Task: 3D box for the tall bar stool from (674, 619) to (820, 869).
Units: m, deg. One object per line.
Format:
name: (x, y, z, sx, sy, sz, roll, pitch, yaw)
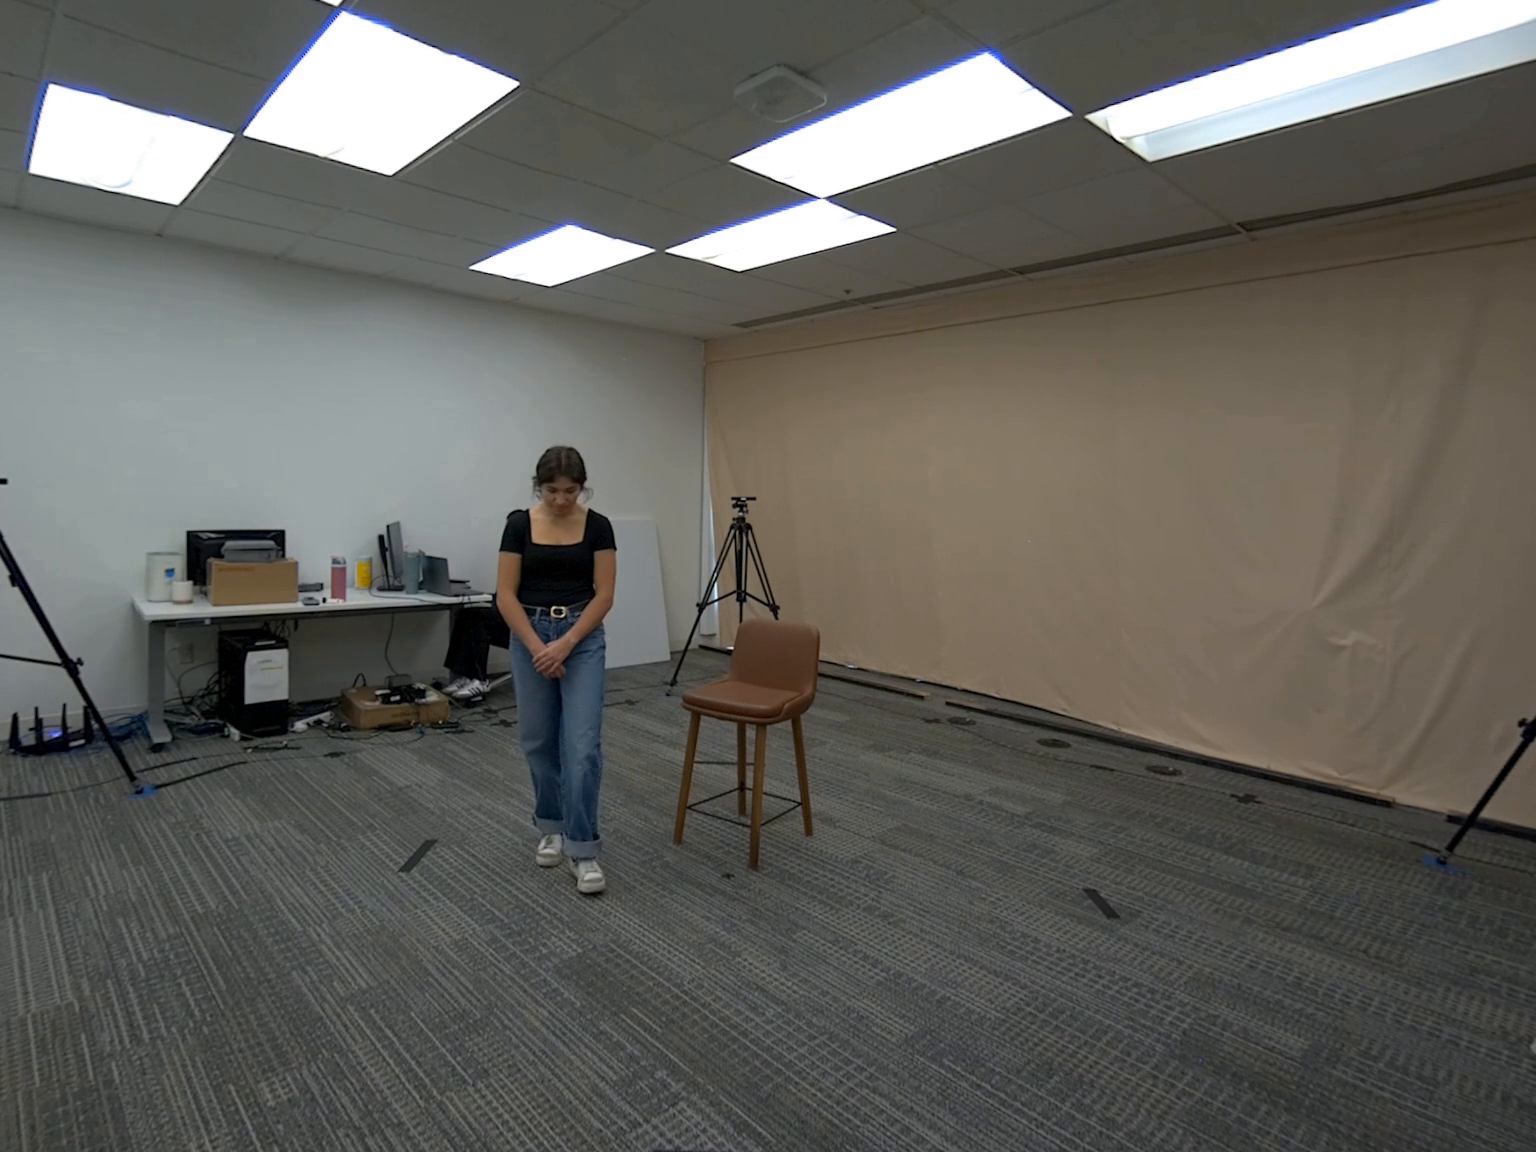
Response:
tall bar stool: (-0.082, 0.646, 3.433, 0.467, 0.889, 0.457, 4, 2, 37)
